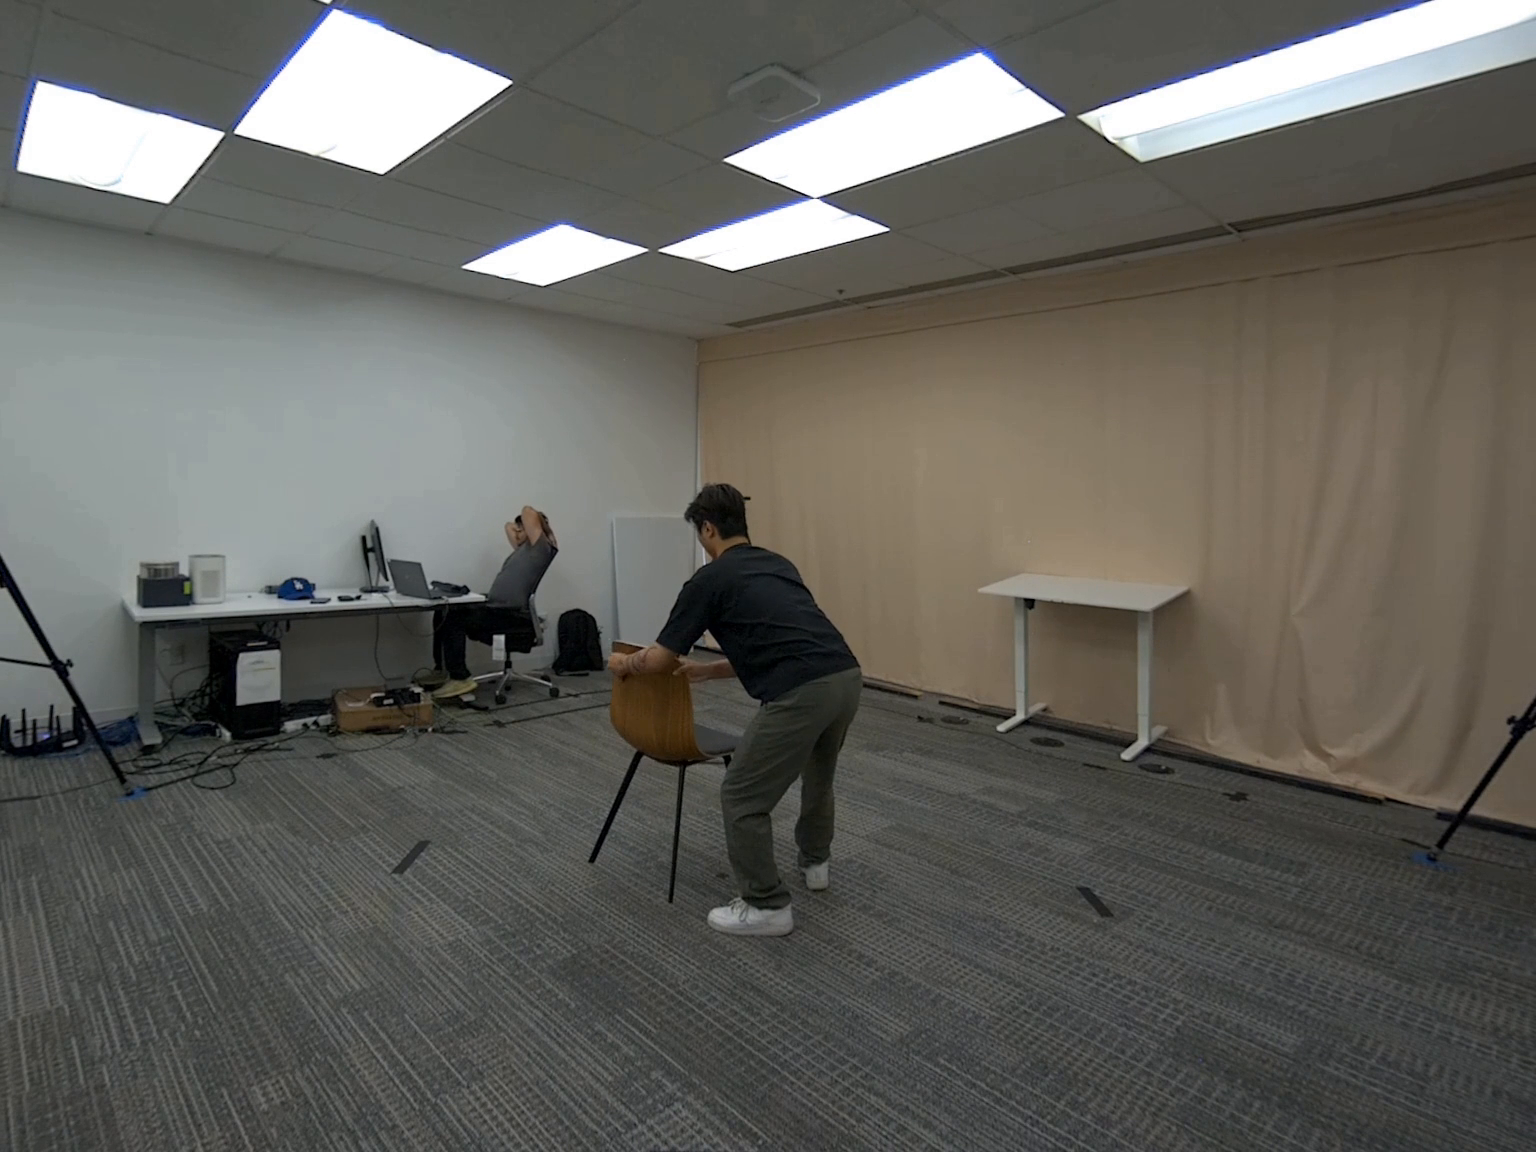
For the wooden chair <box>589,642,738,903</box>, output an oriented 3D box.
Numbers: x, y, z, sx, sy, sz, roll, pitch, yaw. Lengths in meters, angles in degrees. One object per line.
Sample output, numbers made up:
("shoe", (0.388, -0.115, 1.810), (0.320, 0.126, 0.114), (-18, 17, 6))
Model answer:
("wooden chair", (-0.320, 0.658, 3.134), (0.490, 0.875, 0.511), (4, 4, 41))
